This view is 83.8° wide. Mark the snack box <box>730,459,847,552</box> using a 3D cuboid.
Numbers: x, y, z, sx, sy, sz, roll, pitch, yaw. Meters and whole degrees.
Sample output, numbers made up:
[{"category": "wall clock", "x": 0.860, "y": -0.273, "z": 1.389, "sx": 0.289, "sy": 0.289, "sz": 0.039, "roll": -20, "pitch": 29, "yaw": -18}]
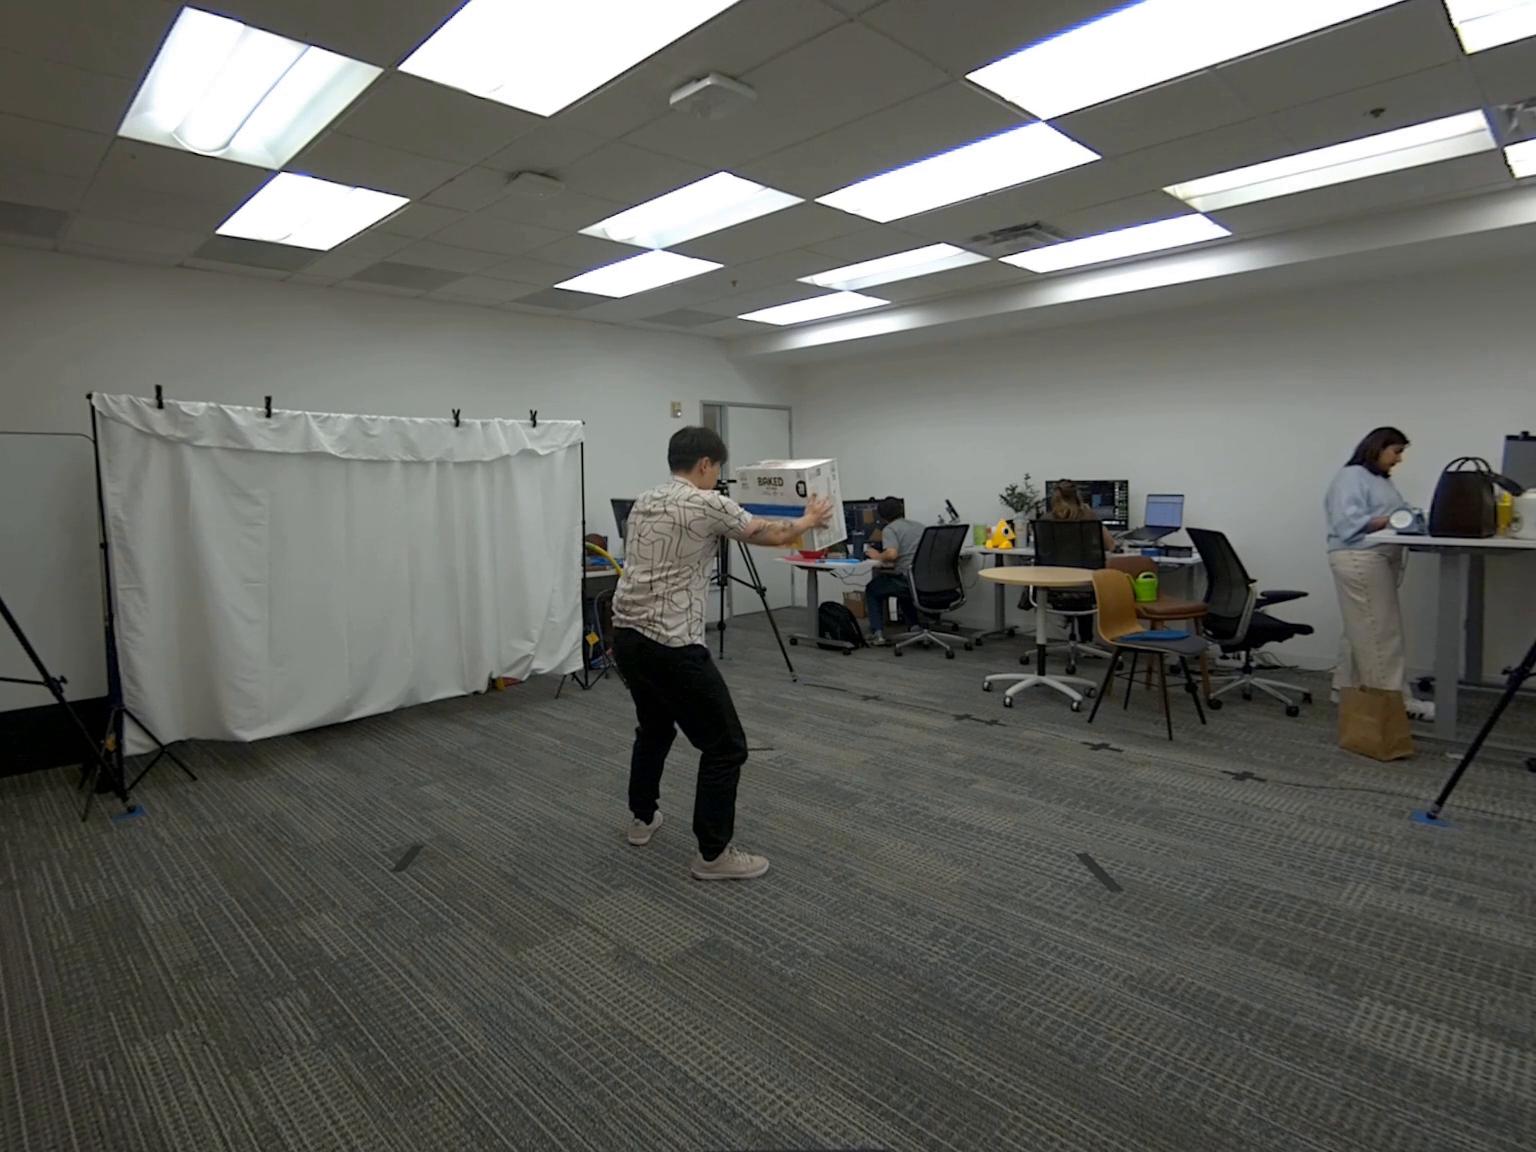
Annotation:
[{"category": "snack box", "x": 0.092, "y": -0.296, "z": 3.580, "sx": 0.202, "sy": 0.336, "sz": 0.418, "roll": -19, "pitch": 17, "yaw": -41}]
